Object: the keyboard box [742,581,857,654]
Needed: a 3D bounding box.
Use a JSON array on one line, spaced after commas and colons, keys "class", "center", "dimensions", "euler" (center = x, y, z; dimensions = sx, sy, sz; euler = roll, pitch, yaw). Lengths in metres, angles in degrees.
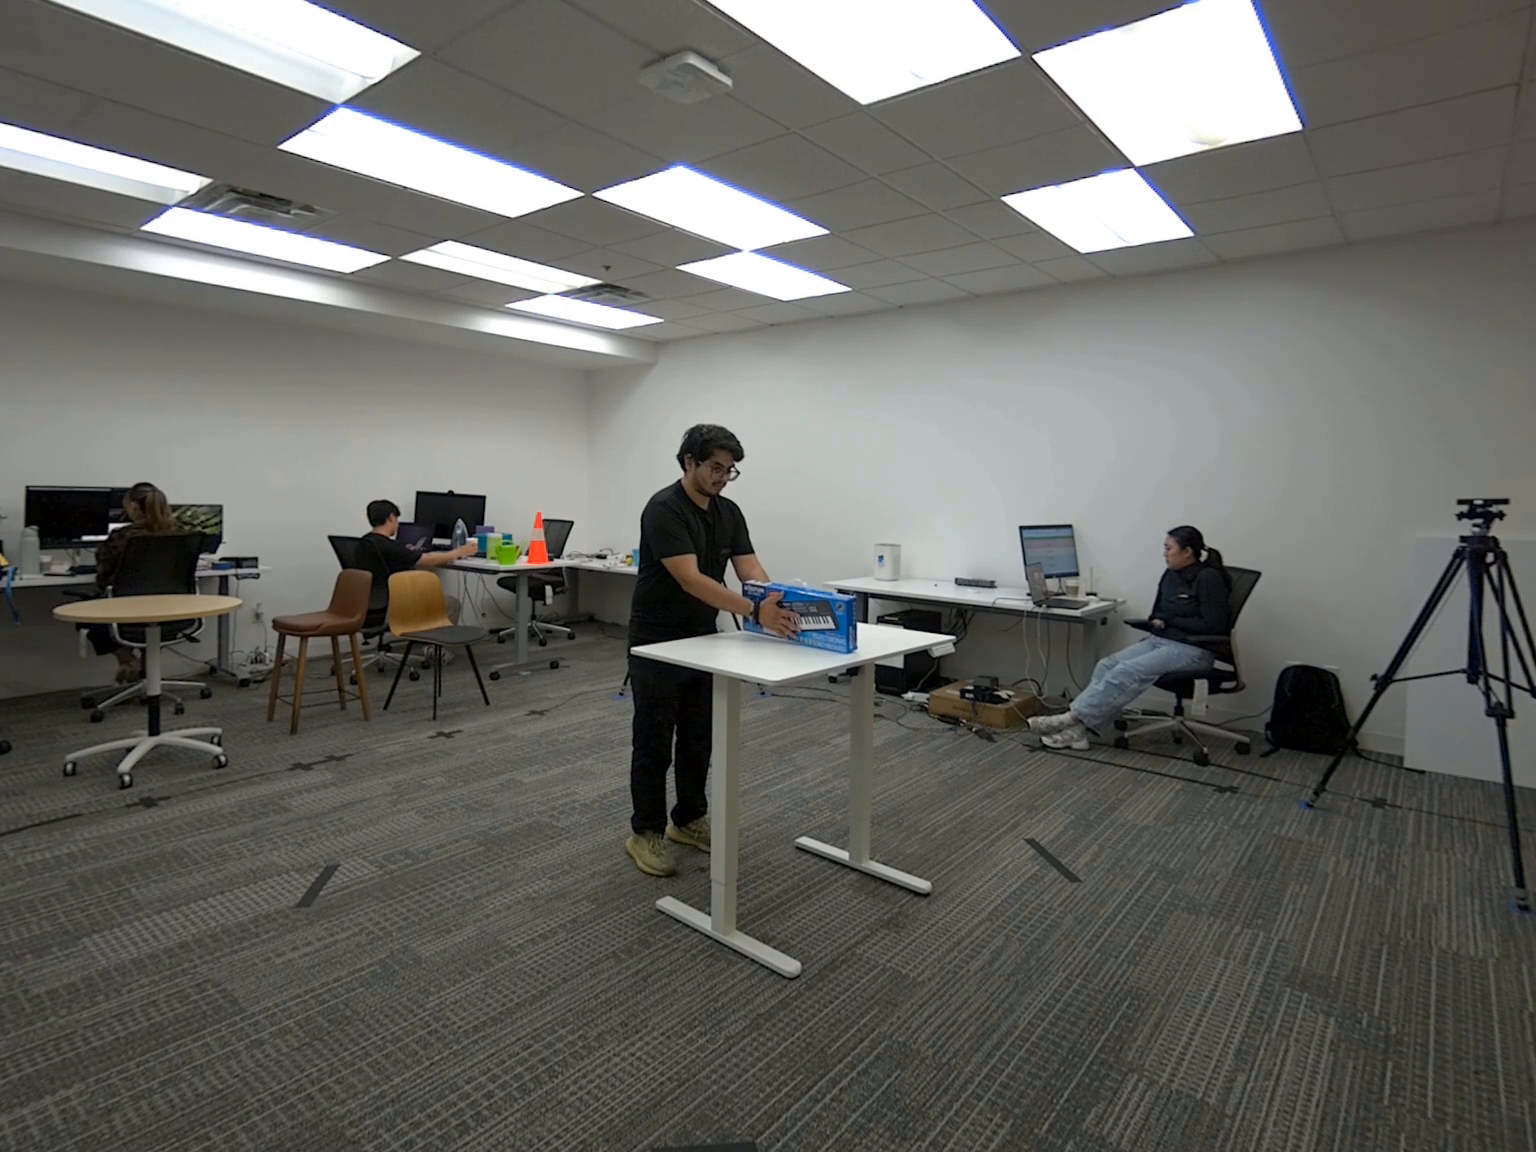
[{"class": "keyboard box", "center": [0.090, 0.126, 2.801], "dimensions": [0.452, 0.174, 0.057], "euler": [8, 12, 42]}]
